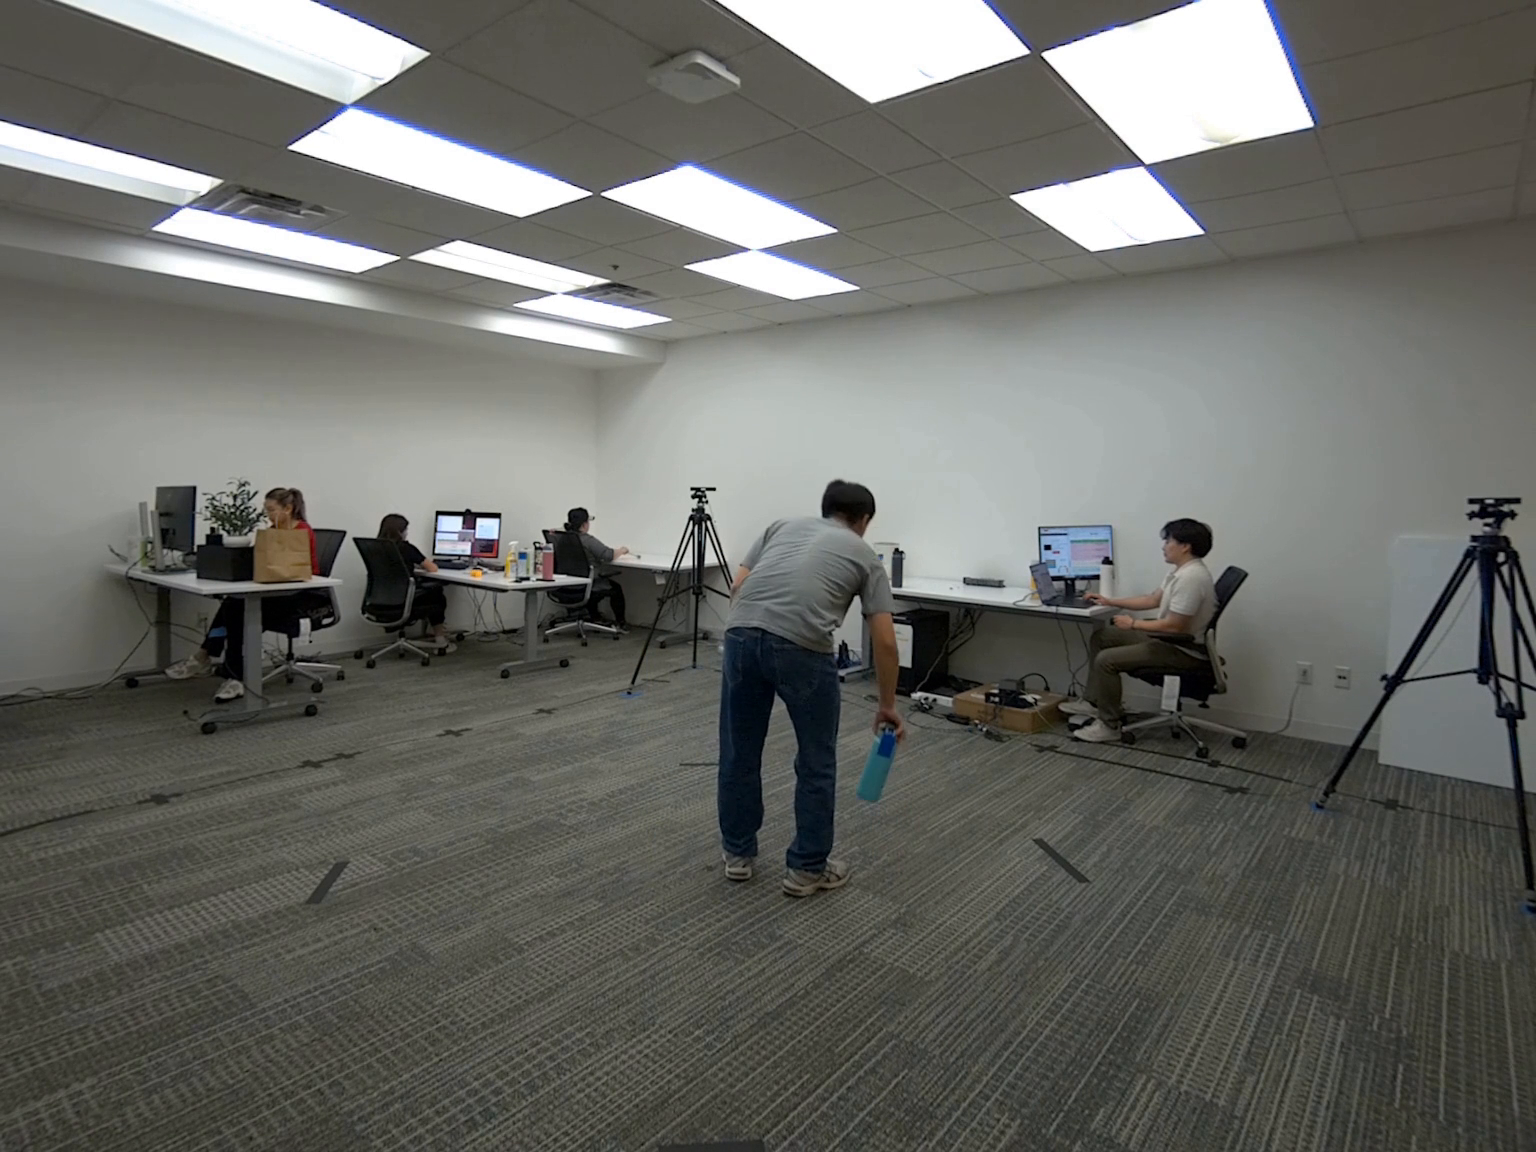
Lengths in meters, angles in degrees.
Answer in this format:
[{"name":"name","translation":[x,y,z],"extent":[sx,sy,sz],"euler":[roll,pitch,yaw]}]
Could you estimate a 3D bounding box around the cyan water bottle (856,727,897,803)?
[{"name":"cyan water bottle","translation":[0.390,0.664,3.073],"extent":[0.092,0.282,0.093],"euler":[16,6,-4]}]
